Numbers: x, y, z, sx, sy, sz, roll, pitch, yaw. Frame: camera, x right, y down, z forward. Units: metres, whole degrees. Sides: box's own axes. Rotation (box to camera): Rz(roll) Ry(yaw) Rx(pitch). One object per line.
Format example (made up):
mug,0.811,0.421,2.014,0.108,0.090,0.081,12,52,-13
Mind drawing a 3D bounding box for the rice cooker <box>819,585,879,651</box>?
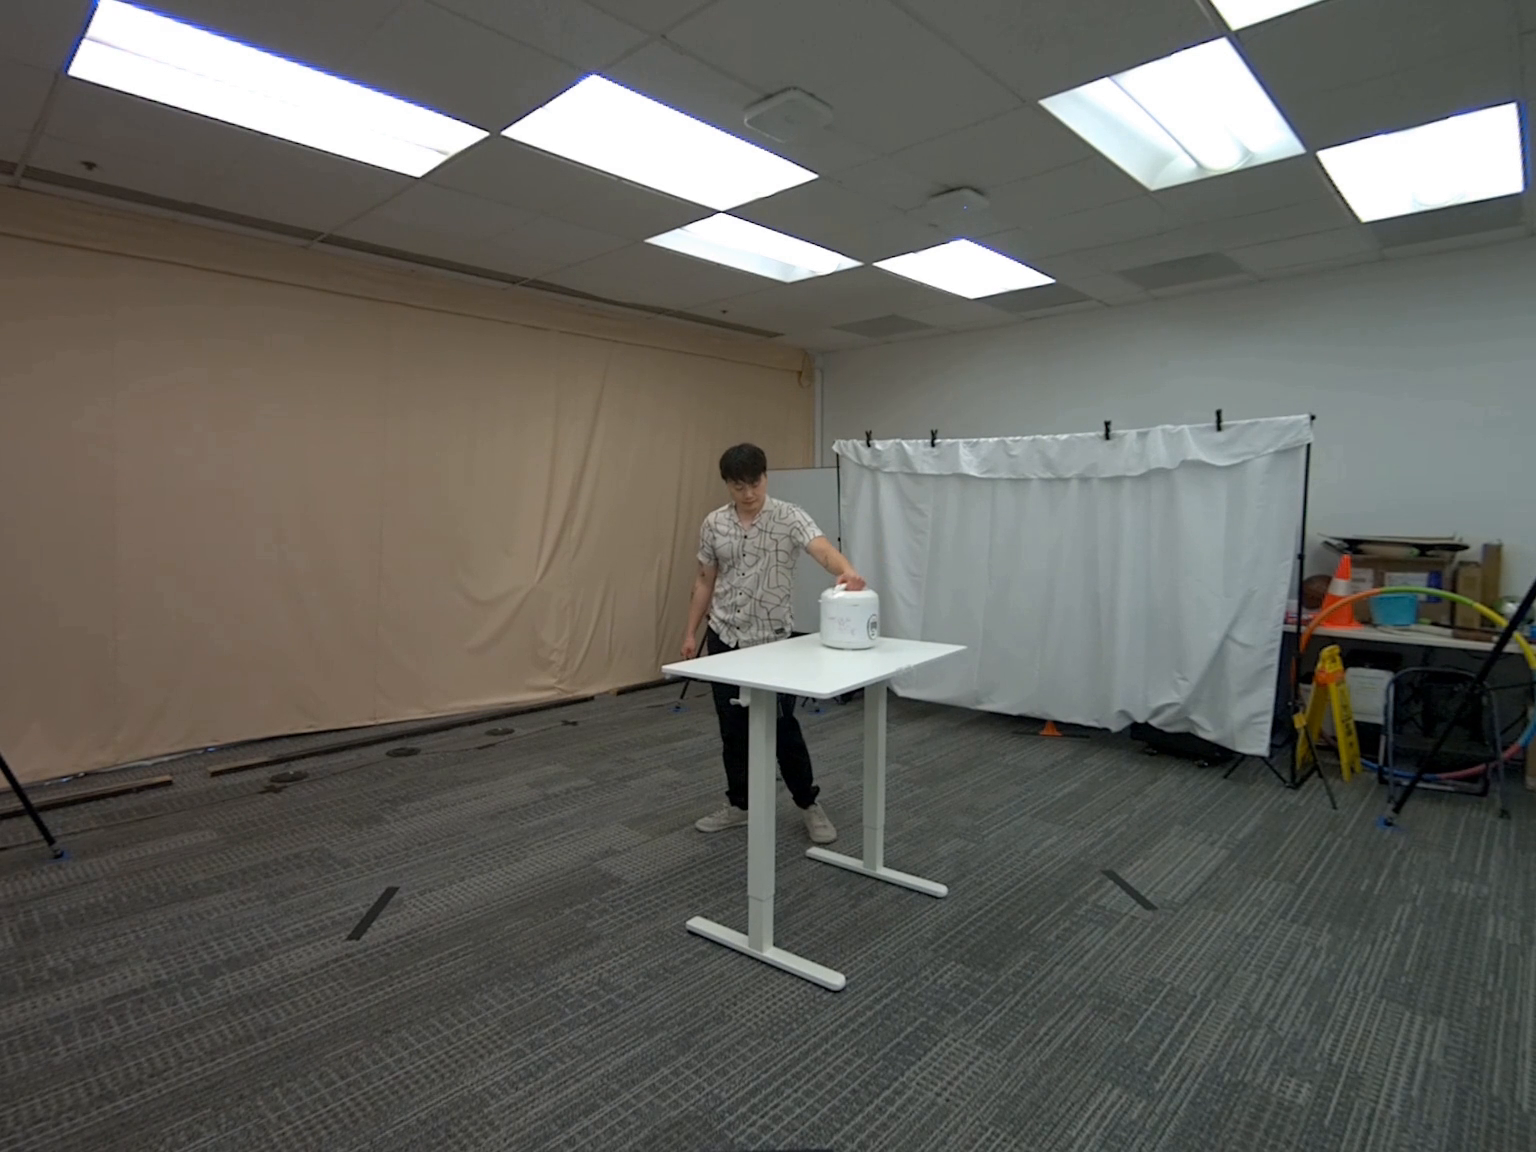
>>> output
rice cooker,0.302,0.140,3.043,0.214,0.232,0.224,-4,4,-45
